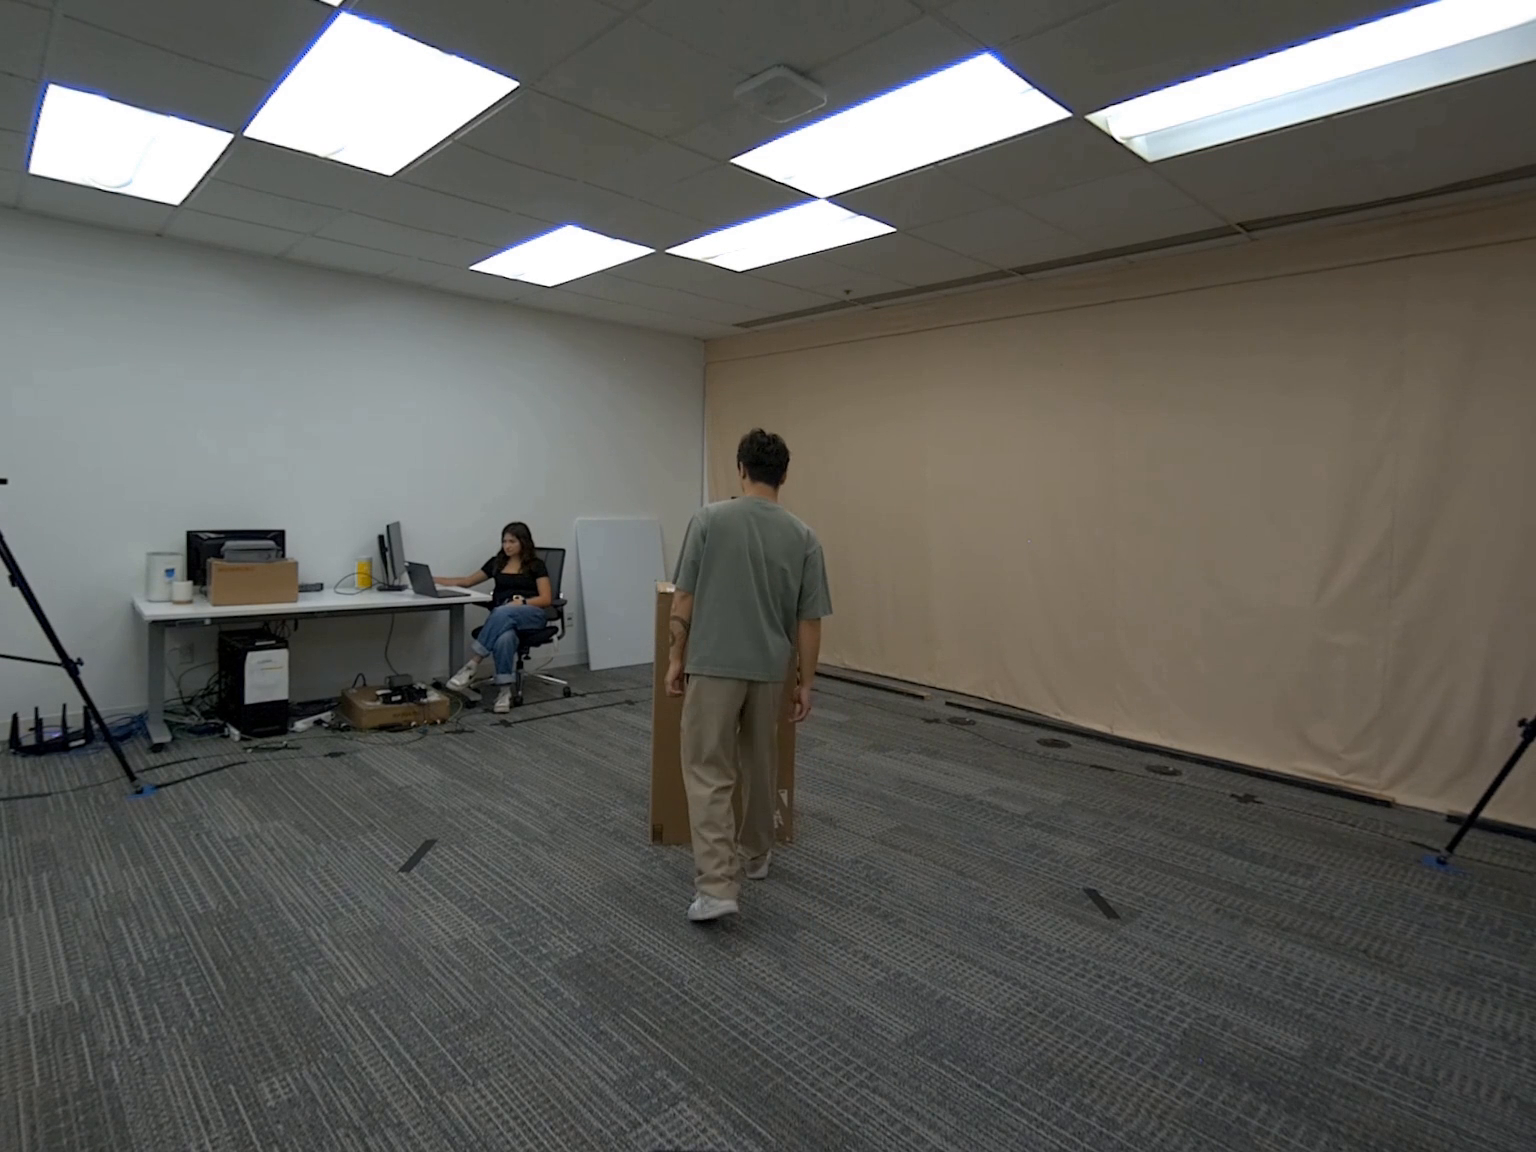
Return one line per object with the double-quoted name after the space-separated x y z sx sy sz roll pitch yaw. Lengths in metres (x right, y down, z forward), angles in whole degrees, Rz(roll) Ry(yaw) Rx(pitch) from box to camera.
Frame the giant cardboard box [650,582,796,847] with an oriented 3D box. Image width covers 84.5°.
-0.202 0.557 3.583 0.575 1.024 0.429 1 3 -6 "giant cardboard box"
